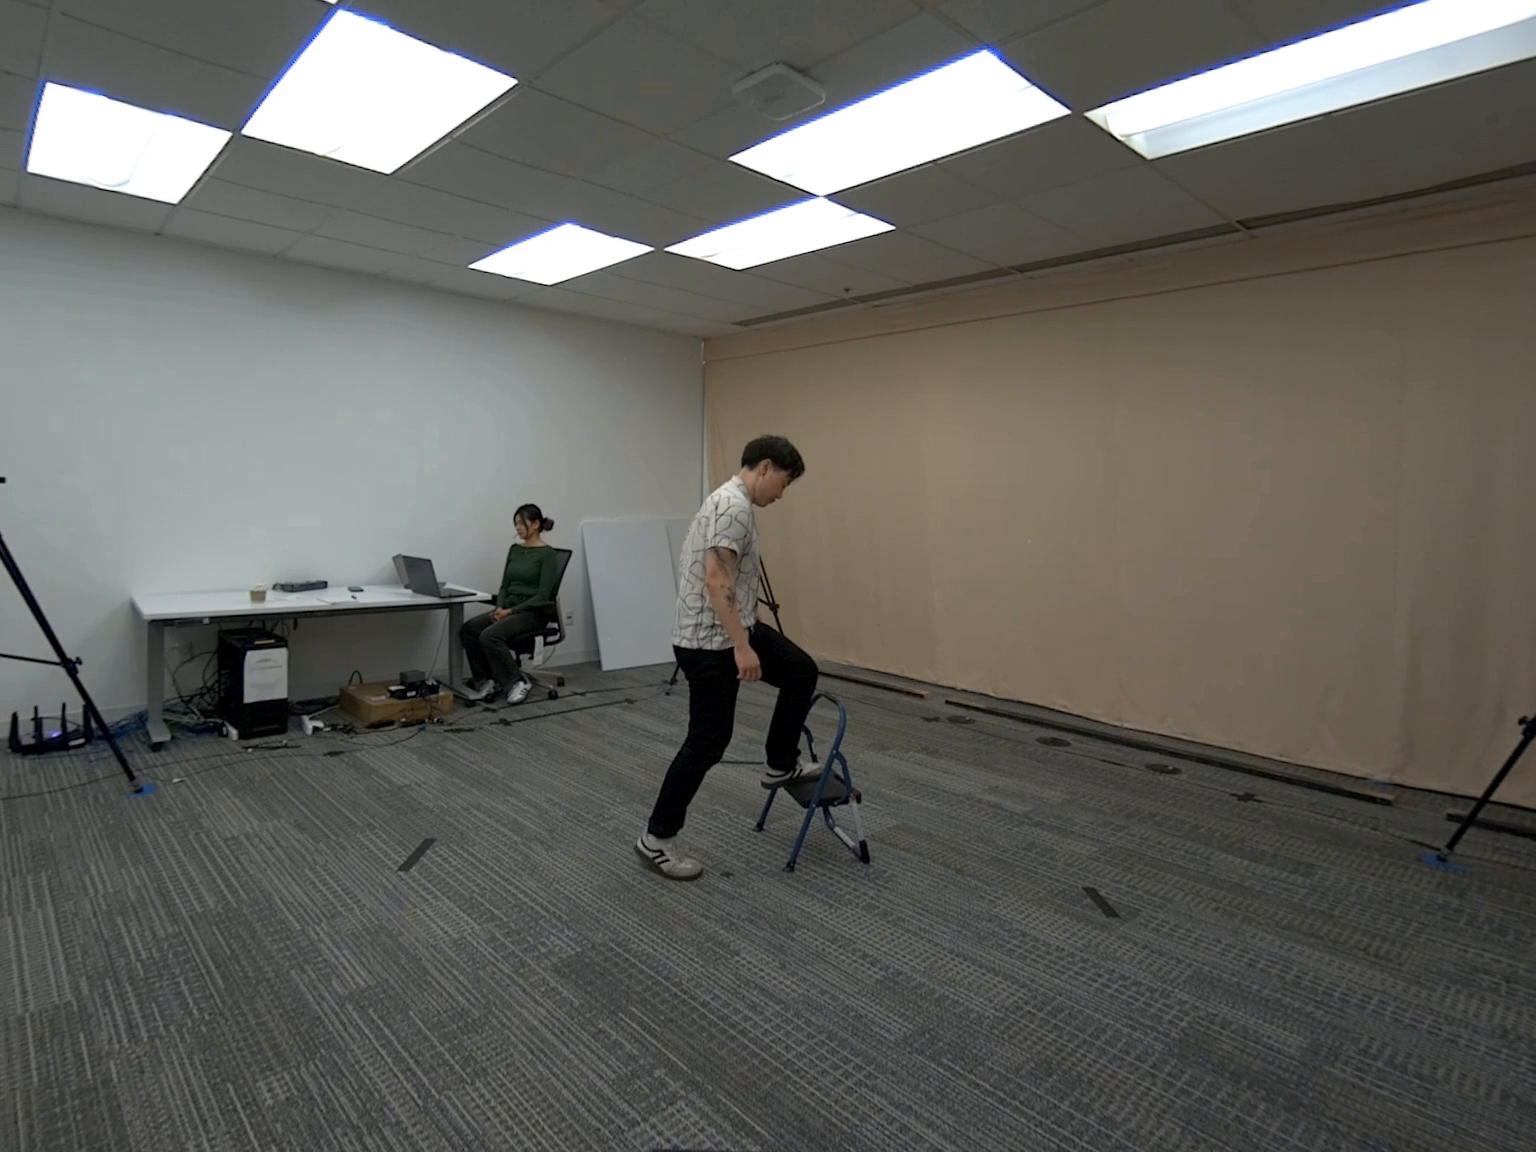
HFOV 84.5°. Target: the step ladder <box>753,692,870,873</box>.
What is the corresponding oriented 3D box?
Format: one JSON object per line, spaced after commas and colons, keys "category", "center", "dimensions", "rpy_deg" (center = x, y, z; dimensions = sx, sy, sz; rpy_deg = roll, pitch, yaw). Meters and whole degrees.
{"category": "step ladder", "center": [0.169, 0.782, 3.365], "dimensions": [0.345, 0.605, 0.437], "rpy_deg": [1, 3, -17]}
